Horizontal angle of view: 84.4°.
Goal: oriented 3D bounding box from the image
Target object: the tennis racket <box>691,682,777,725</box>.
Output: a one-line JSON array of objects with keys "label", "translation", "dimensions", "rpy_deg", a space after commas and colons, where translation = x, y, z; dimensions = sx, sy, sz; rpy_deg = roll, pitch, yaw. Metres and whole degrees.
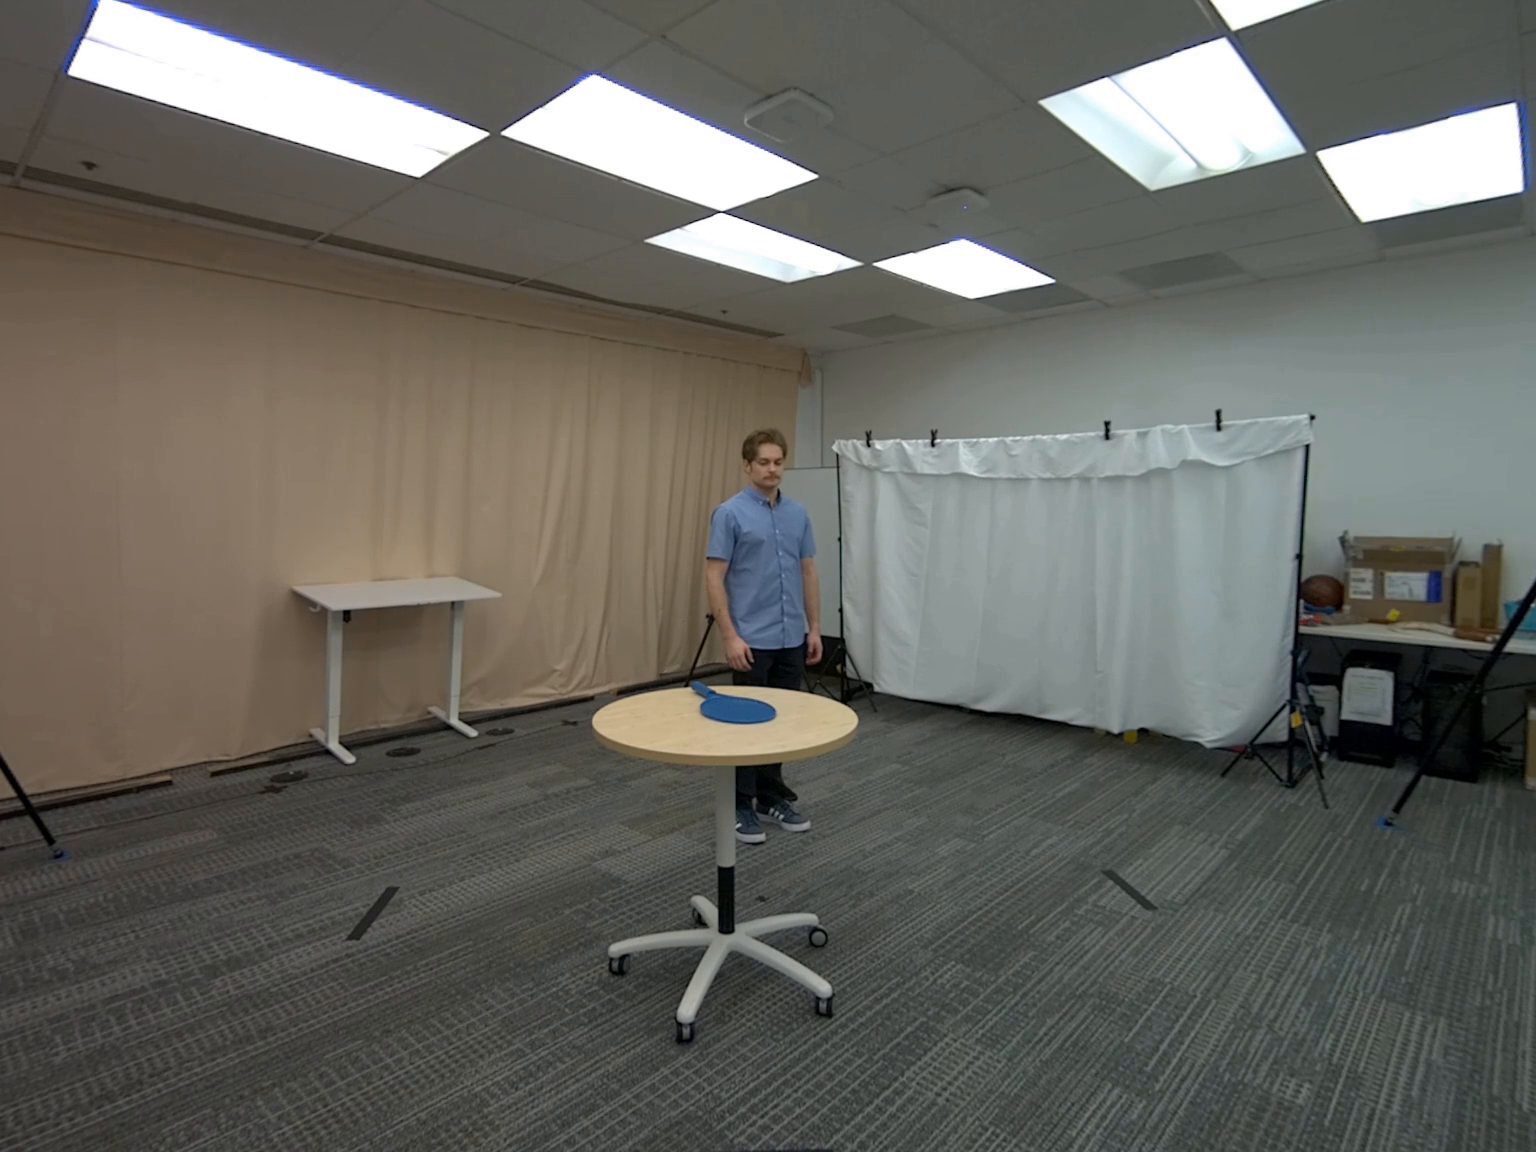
[{"label": "tennis racket", "translation": [-0.115, 0.385, 2.550], "dimensions": [0.209, 0.031, 0.445], "rpy_deg": [-4, 8, -26]}]
